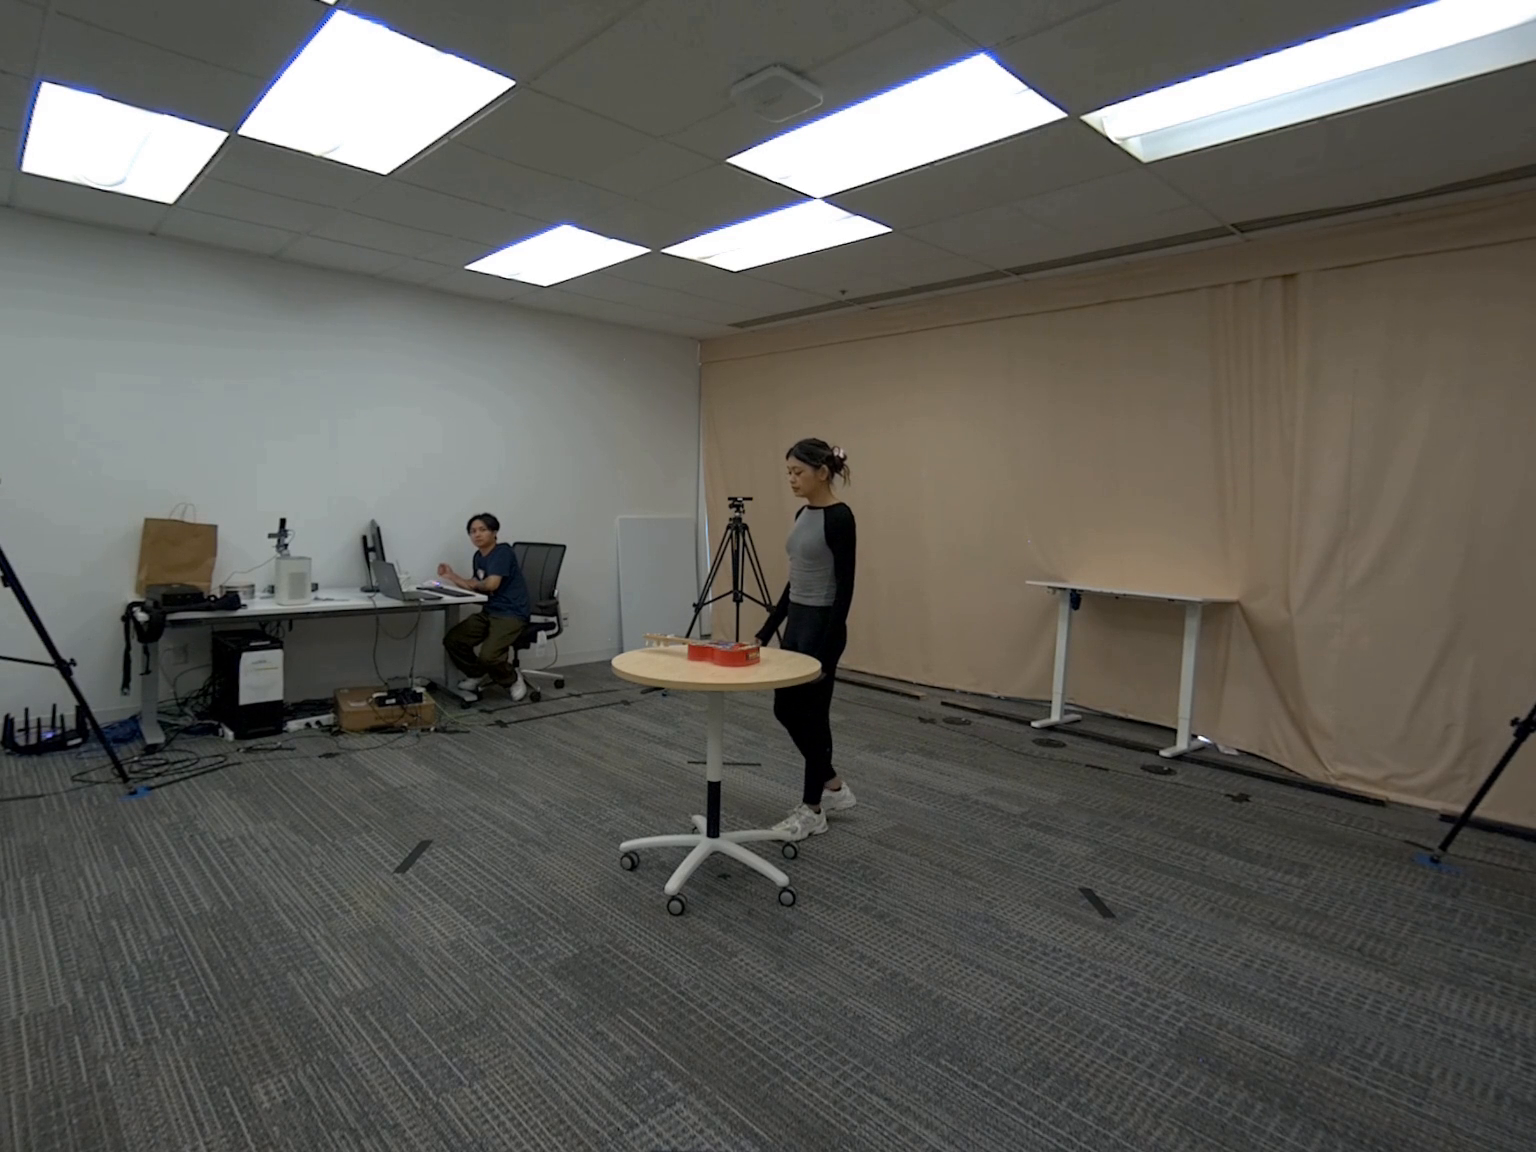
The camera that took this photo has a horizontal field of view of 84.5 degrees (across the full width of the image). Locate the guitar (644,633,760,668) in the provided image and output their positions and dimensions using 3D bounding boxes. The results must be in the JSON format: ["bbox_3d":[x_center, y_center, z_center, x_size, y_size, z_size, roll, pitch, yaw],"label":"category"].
[{"bbox_3d":[-0.253,0.273,3.186,0.510,0.070,0.188,5,5,39],"label":"guitar"}]
